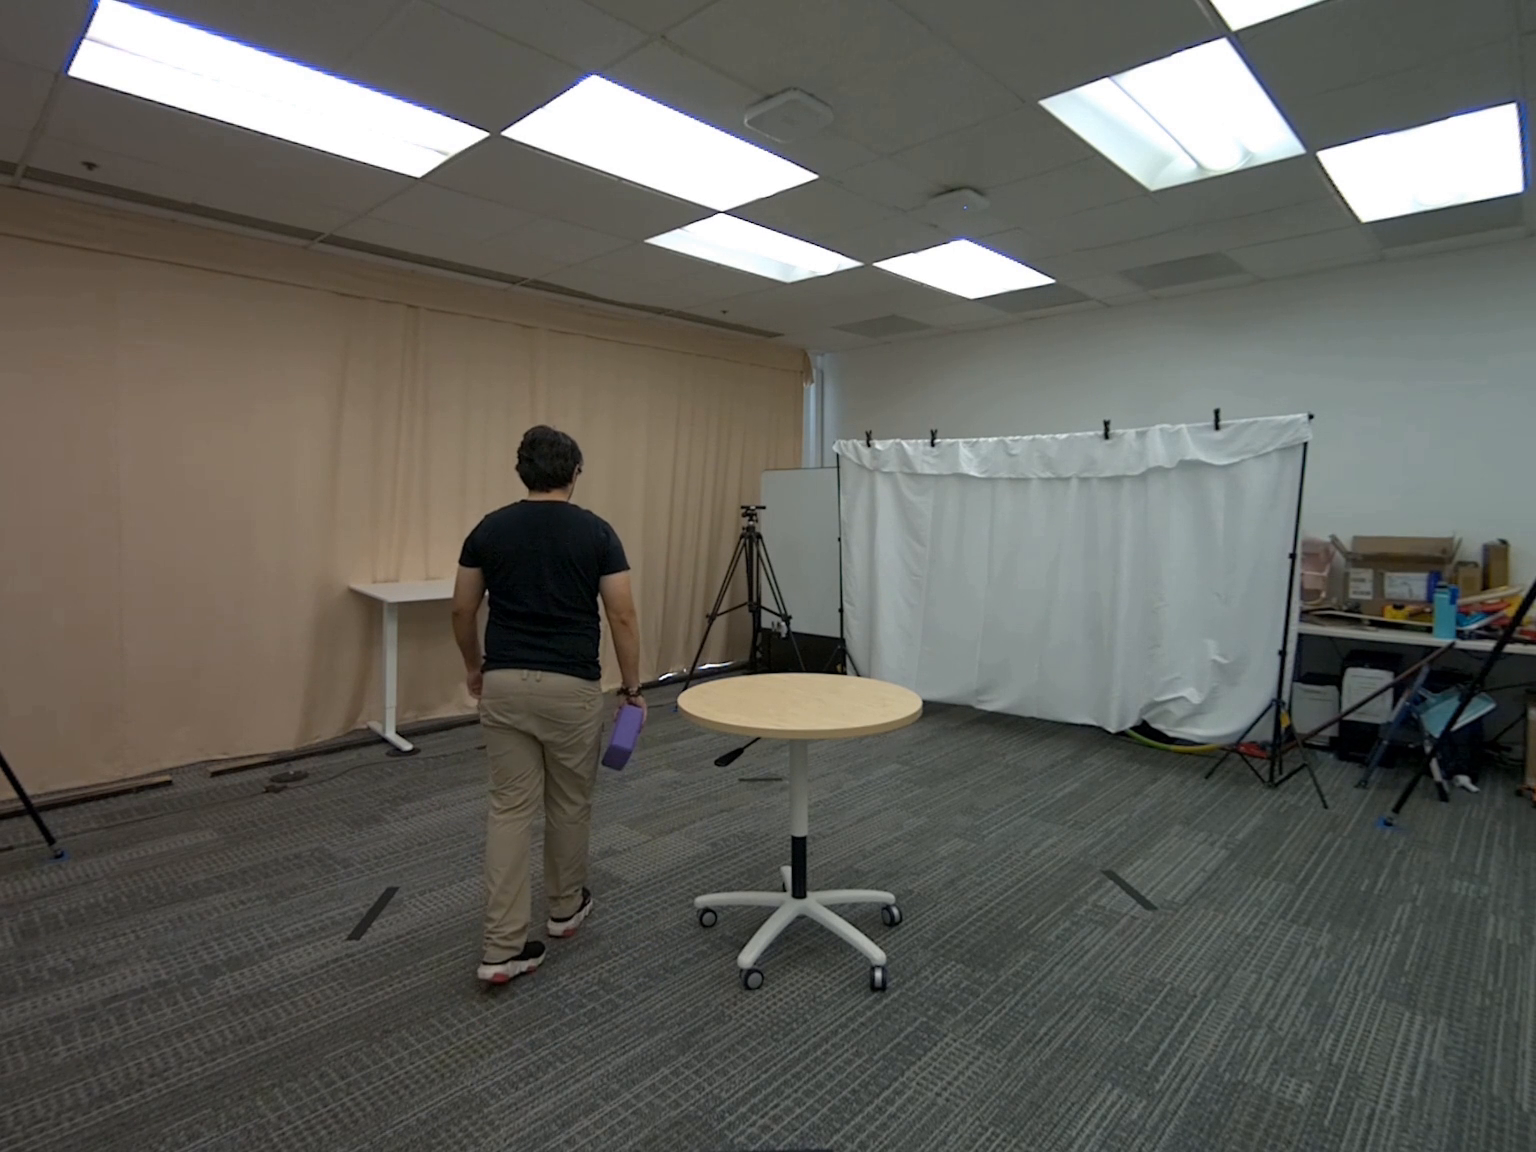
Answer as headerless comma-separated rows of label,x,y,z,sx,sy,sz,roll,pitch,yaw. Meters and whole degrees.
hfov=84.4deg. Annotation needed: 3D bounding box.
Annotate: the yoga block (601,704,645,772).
yoga block,-0.473,0.539,2.728,0.076,0.150,0.229,18,-32,-9
